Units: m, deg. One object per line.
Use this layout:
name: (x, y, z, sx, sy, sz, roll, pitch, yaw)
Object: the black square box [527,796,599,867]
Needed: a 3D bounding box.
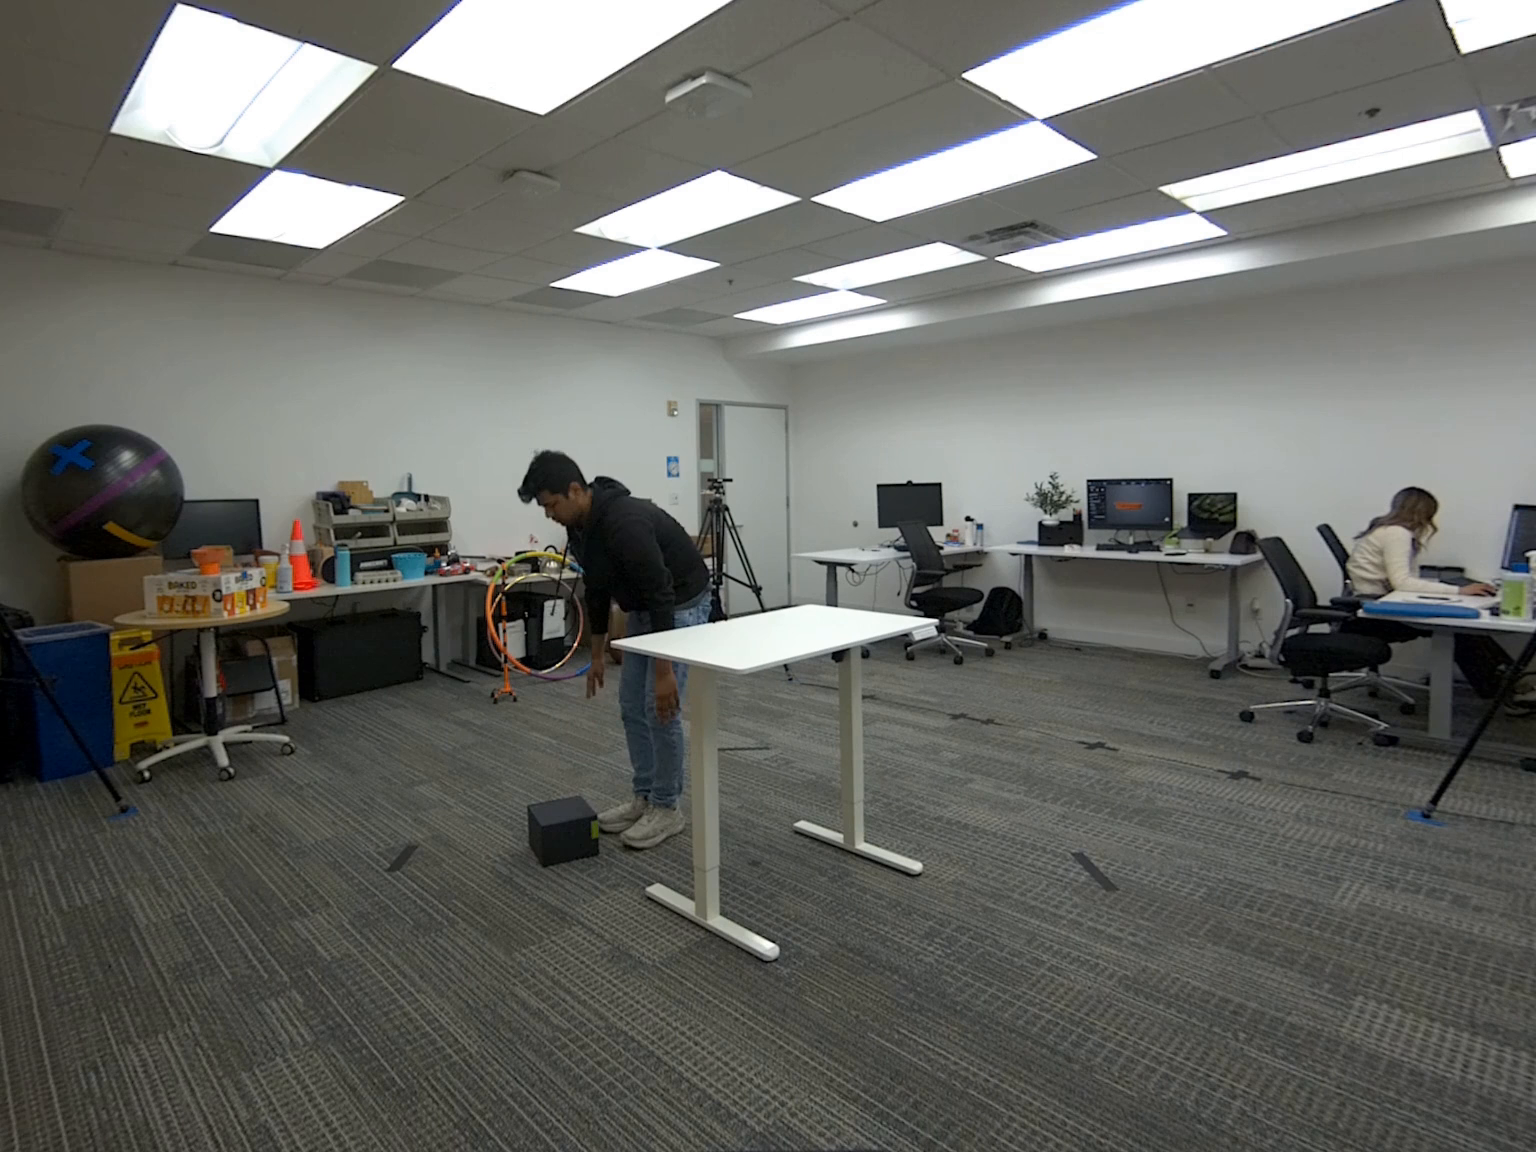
black square box: (-0.776, 0.958, 3.241, 0.212, 0.155, 0.234, -4, 6, -28)
